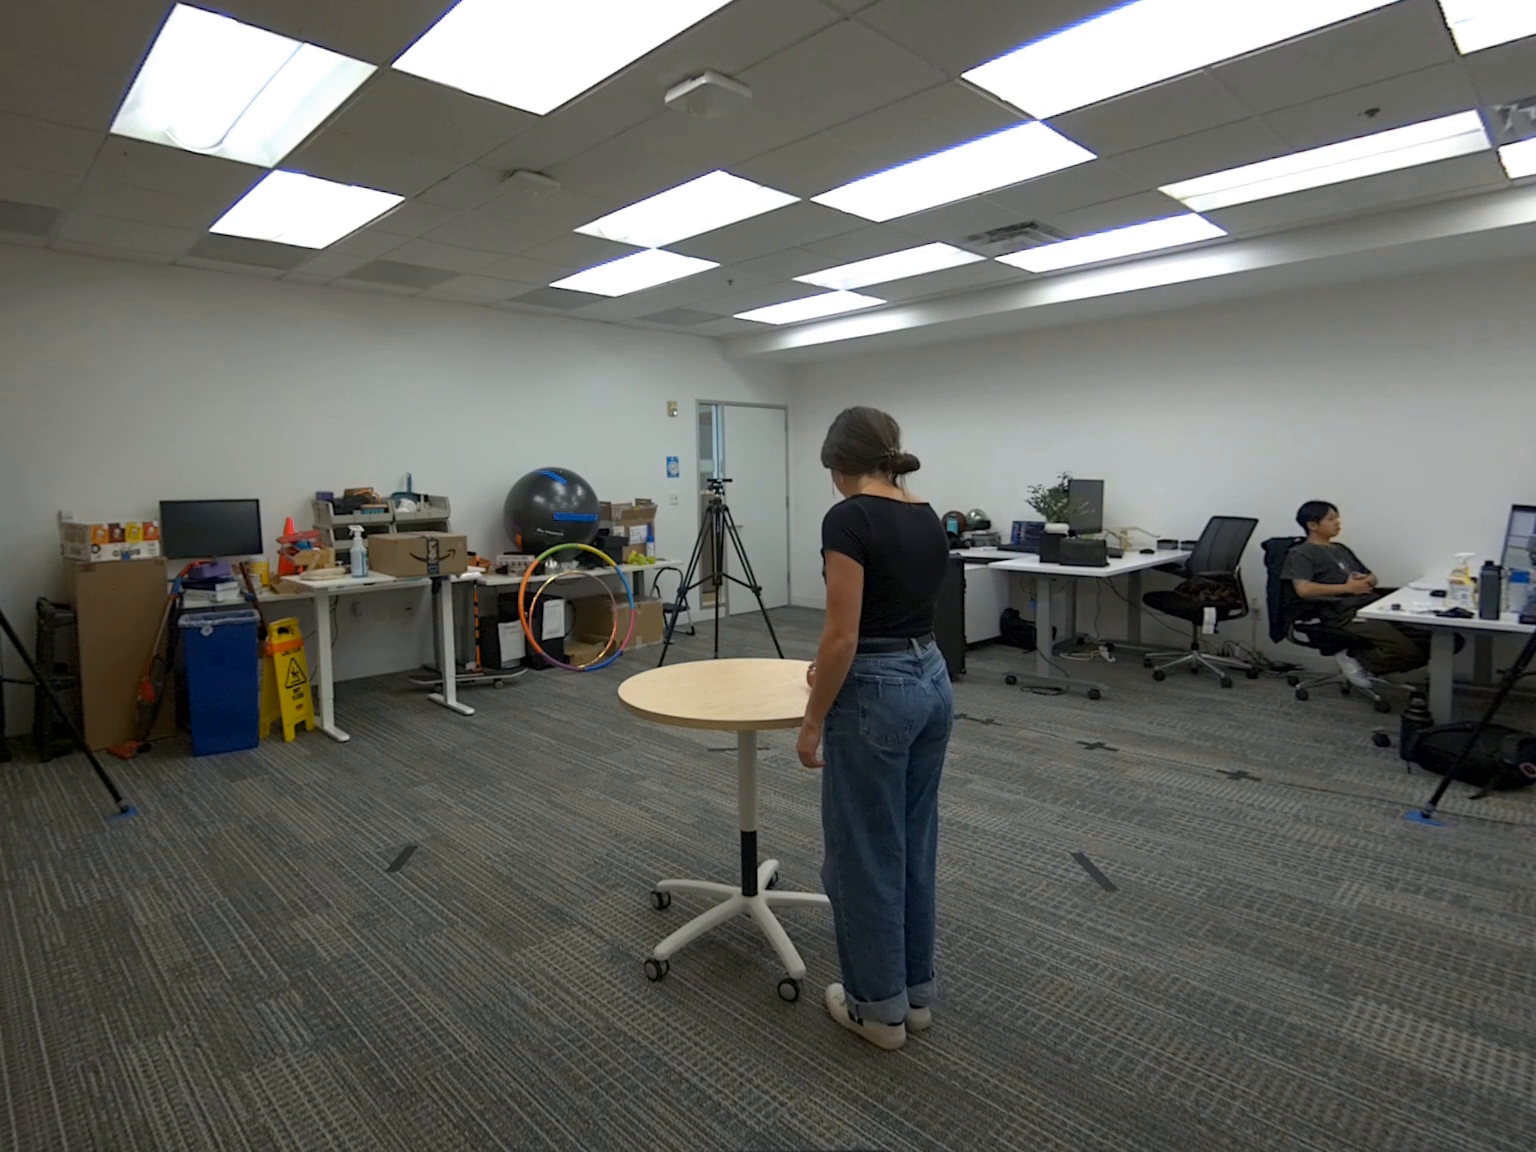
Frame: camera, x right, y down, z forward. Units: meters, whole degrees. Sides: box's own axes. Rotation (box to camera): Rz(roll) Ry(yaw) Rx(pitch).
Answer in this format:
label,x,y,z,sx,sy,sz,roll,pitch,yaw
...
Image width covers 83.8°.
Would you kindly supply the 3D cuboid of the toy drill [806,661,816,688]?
label,x,y,z,sx,sy,sz,roll,pitch,yaw
toy drill,0.191,0.292,2.554,0.143,0.060,0.175,-5,13,-24
